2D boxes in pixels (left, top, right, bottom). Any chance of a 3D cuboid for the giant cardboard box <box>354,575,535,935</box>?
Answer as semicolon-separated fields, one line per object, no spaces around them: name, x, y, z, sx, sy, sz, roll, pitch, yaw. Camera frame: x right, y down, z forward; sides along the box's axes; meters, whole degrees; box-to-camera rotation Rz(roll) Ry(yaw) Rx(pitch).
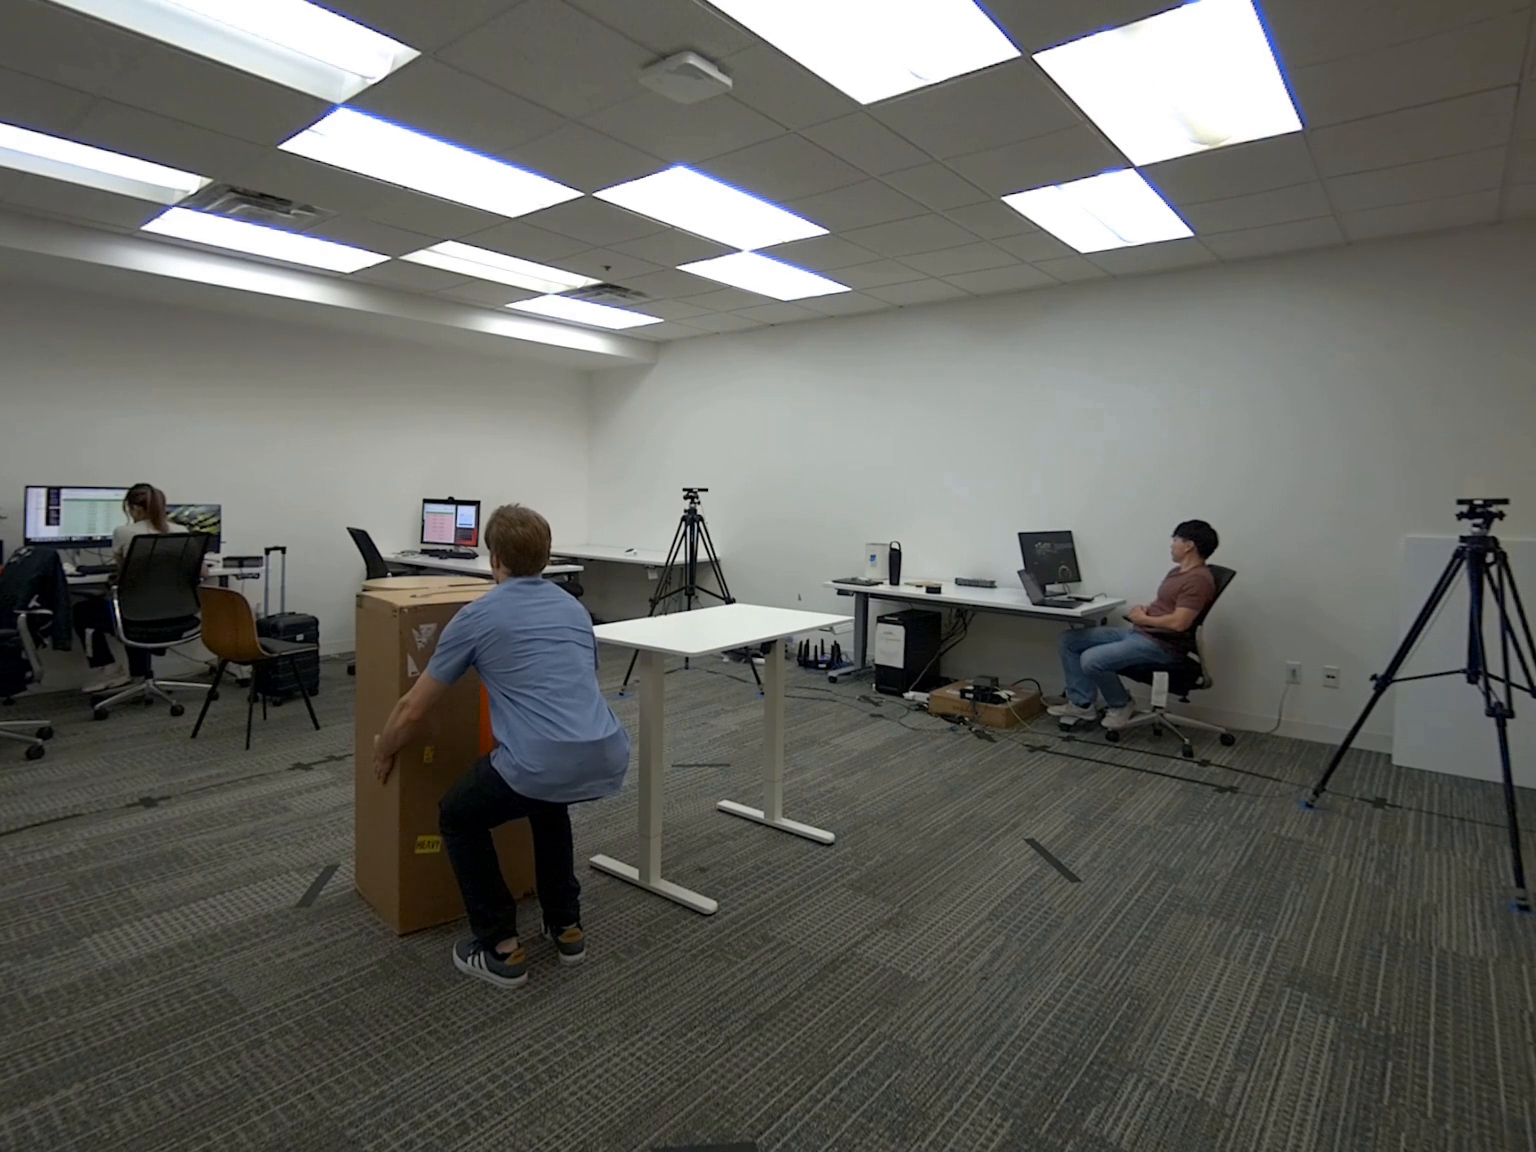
giant cardboard box;-1.071;0.562;2.920;0.560;1.023;0.440;-2;4;-42
